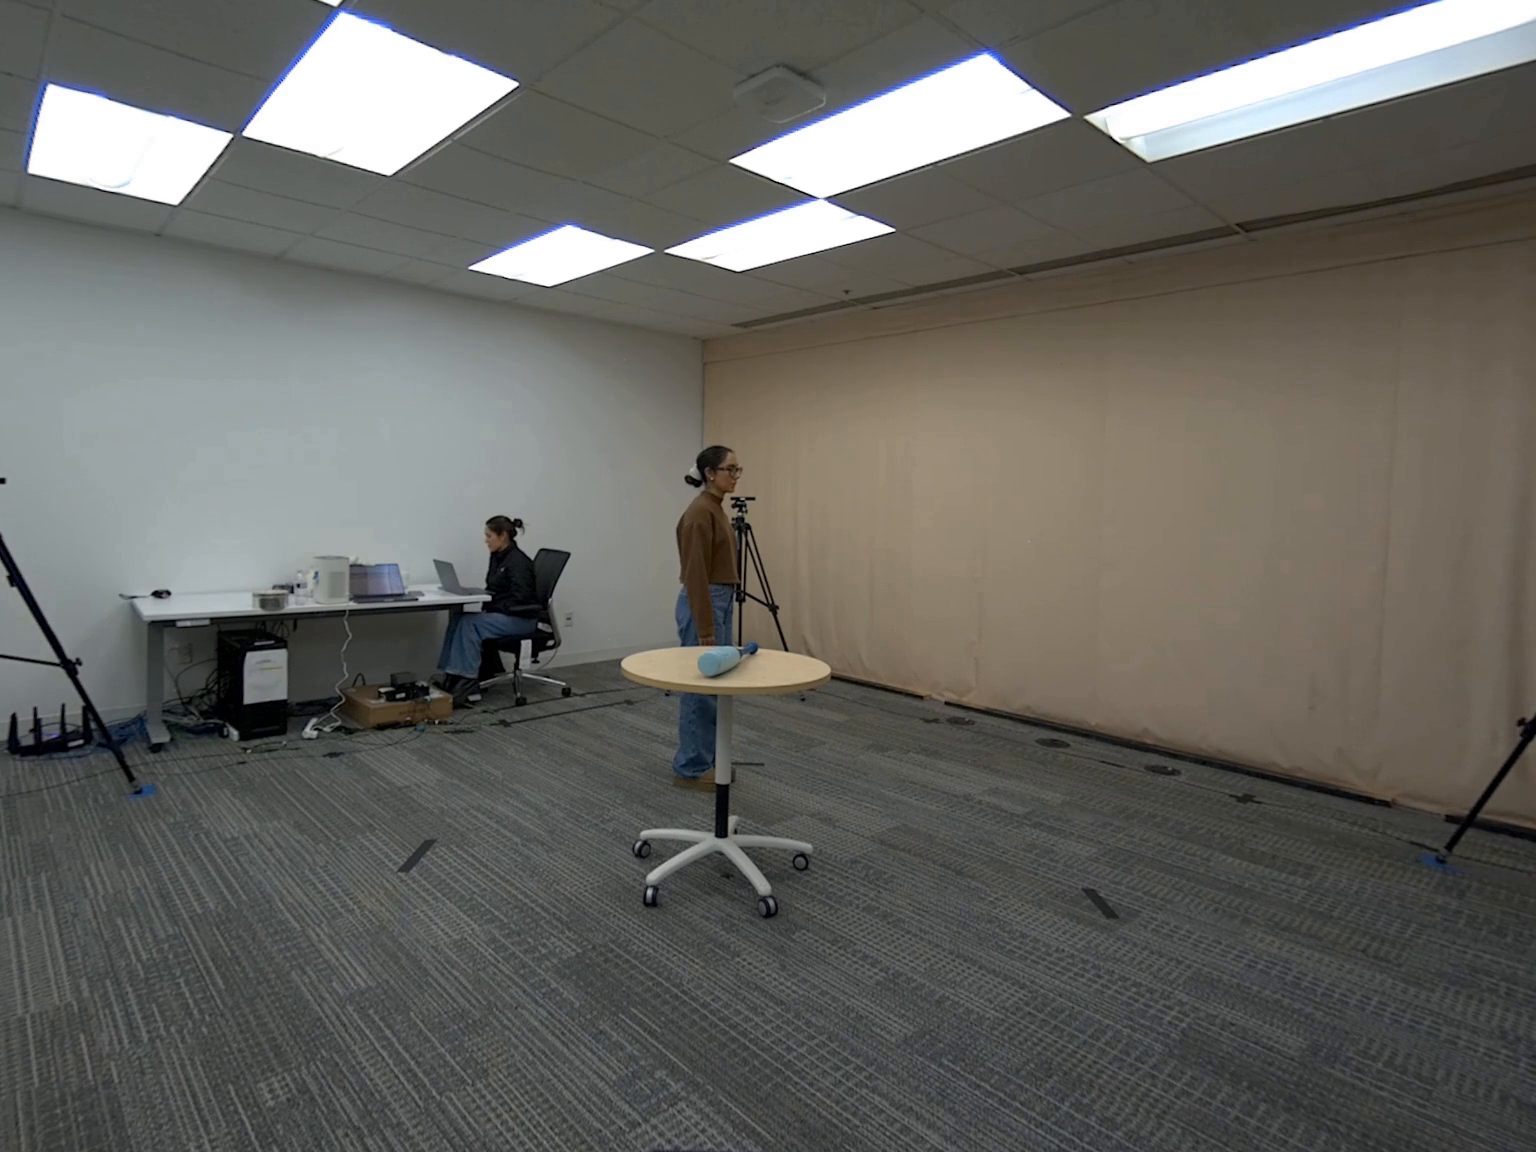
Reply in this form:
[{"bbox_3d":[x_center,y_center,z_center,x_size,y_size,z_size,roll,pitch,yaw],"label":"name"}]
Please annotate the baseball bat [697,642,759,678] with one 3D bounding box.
[{"bbox_3d":[-0.136,0.291,3.071,0.090,0.089,0.536,3,2,14],"label":"baseball bat"}]
